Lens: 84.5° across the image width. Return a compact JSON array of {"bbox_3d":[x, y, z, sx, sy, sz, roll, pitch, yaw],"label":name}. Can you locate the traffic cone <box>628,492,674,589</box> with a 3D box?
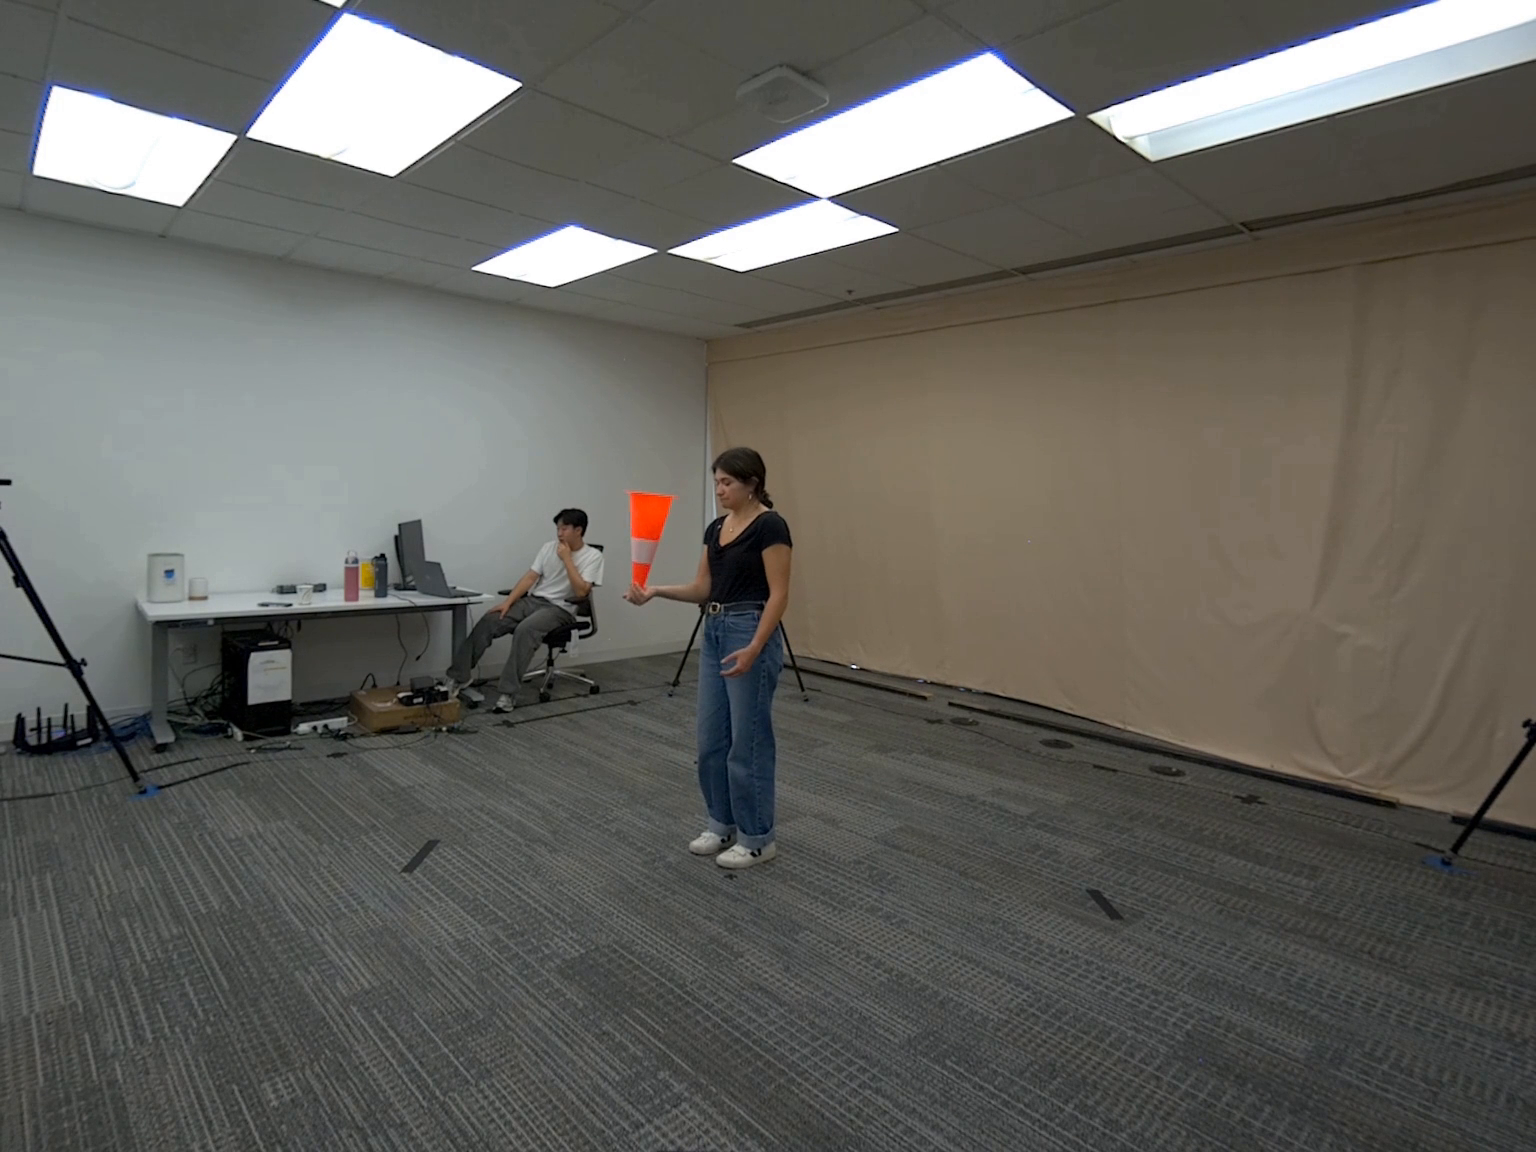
[{"bbox_3d":[-0.454,-0.108,3.092,0.203,0.383,0.205,1,2,-11],"label":"traffic cone"}]
